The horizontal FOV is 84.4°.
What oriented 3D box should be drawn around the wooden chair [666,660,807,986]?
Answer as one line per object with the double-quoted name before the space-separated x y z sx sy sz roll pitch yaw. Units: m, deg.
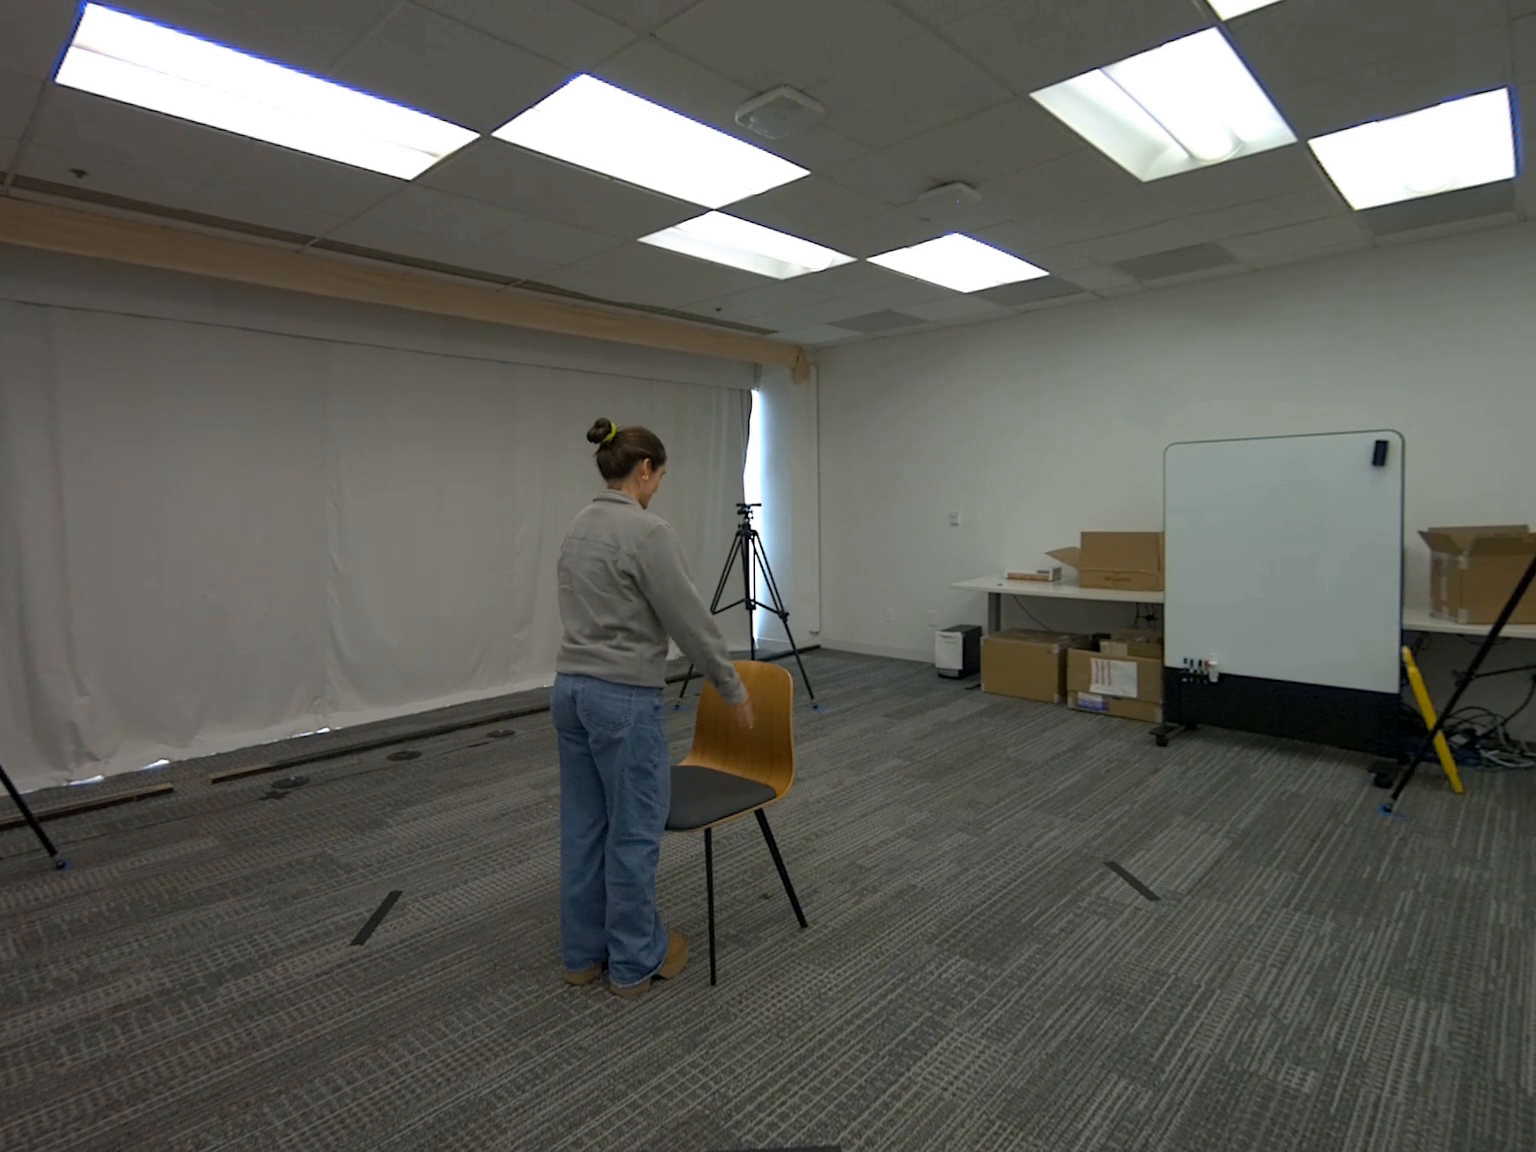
"wooden chair" -0.193 0.736 2.718 0.494 0.877 0.506 2 1 42
